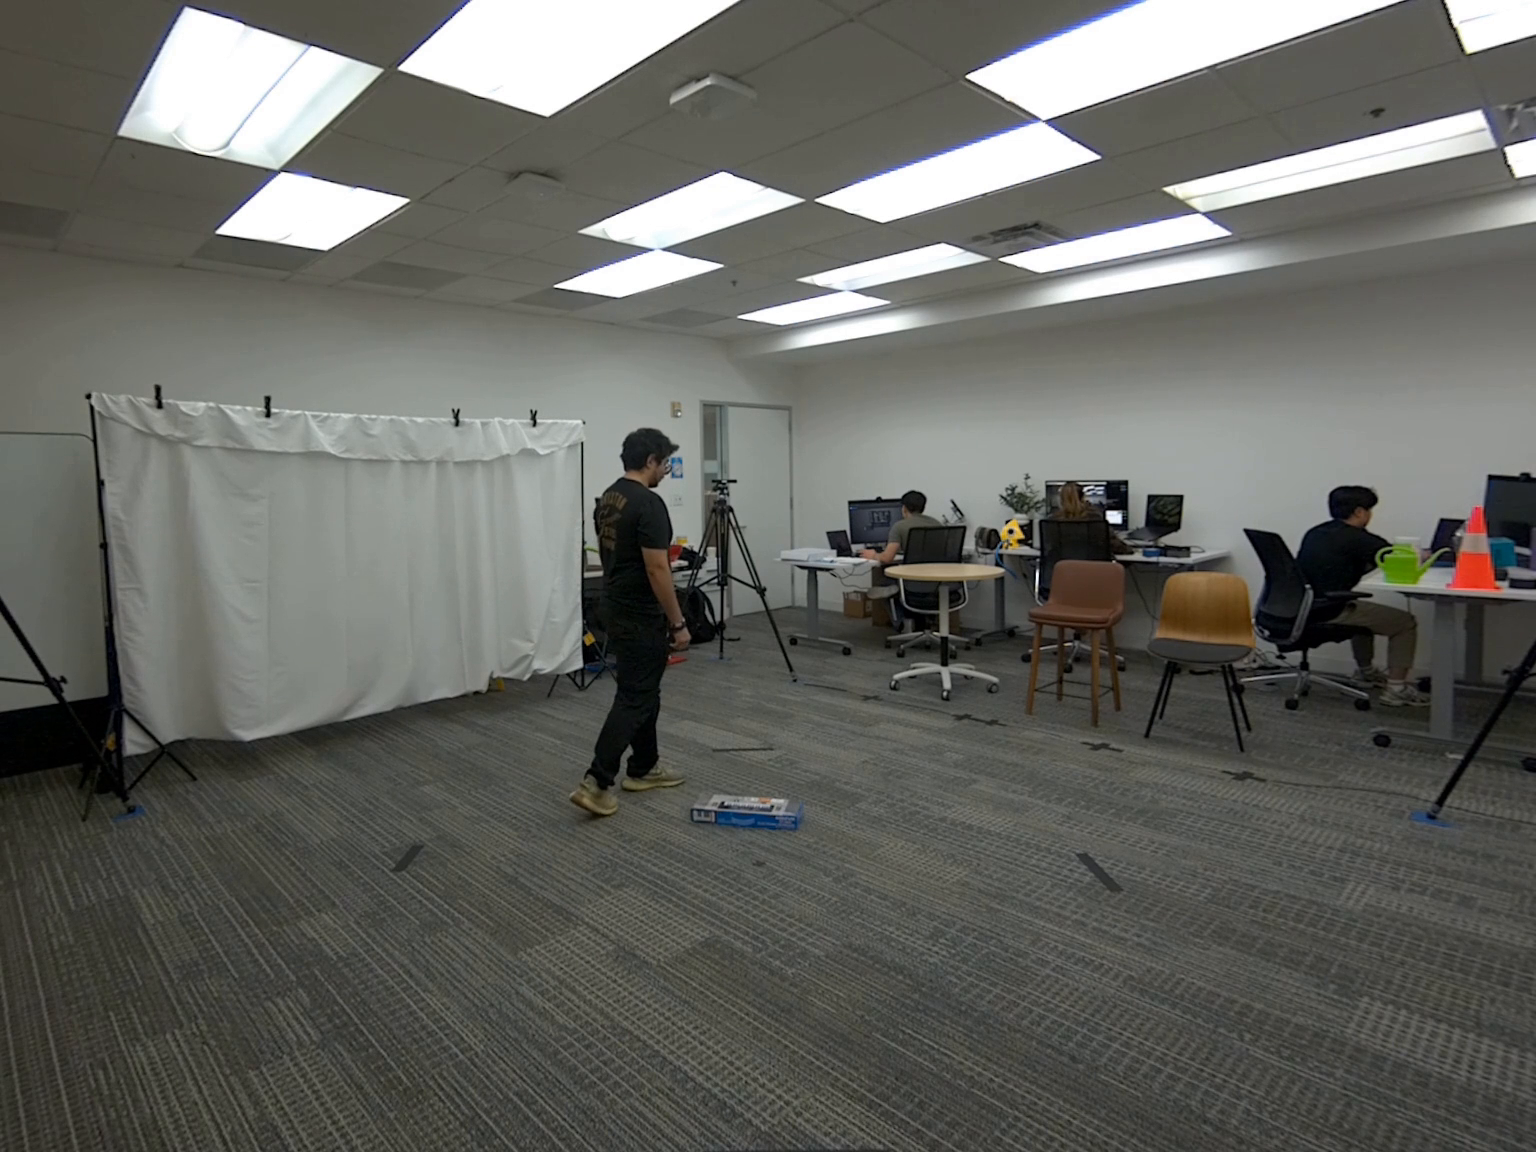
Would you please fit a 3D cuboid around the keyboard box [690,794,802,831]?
[{"bbox_3d":[-0.084,0.972,3.528,0.443,0.059,0.174,0,5,13],"label":"keyboard box"}]
